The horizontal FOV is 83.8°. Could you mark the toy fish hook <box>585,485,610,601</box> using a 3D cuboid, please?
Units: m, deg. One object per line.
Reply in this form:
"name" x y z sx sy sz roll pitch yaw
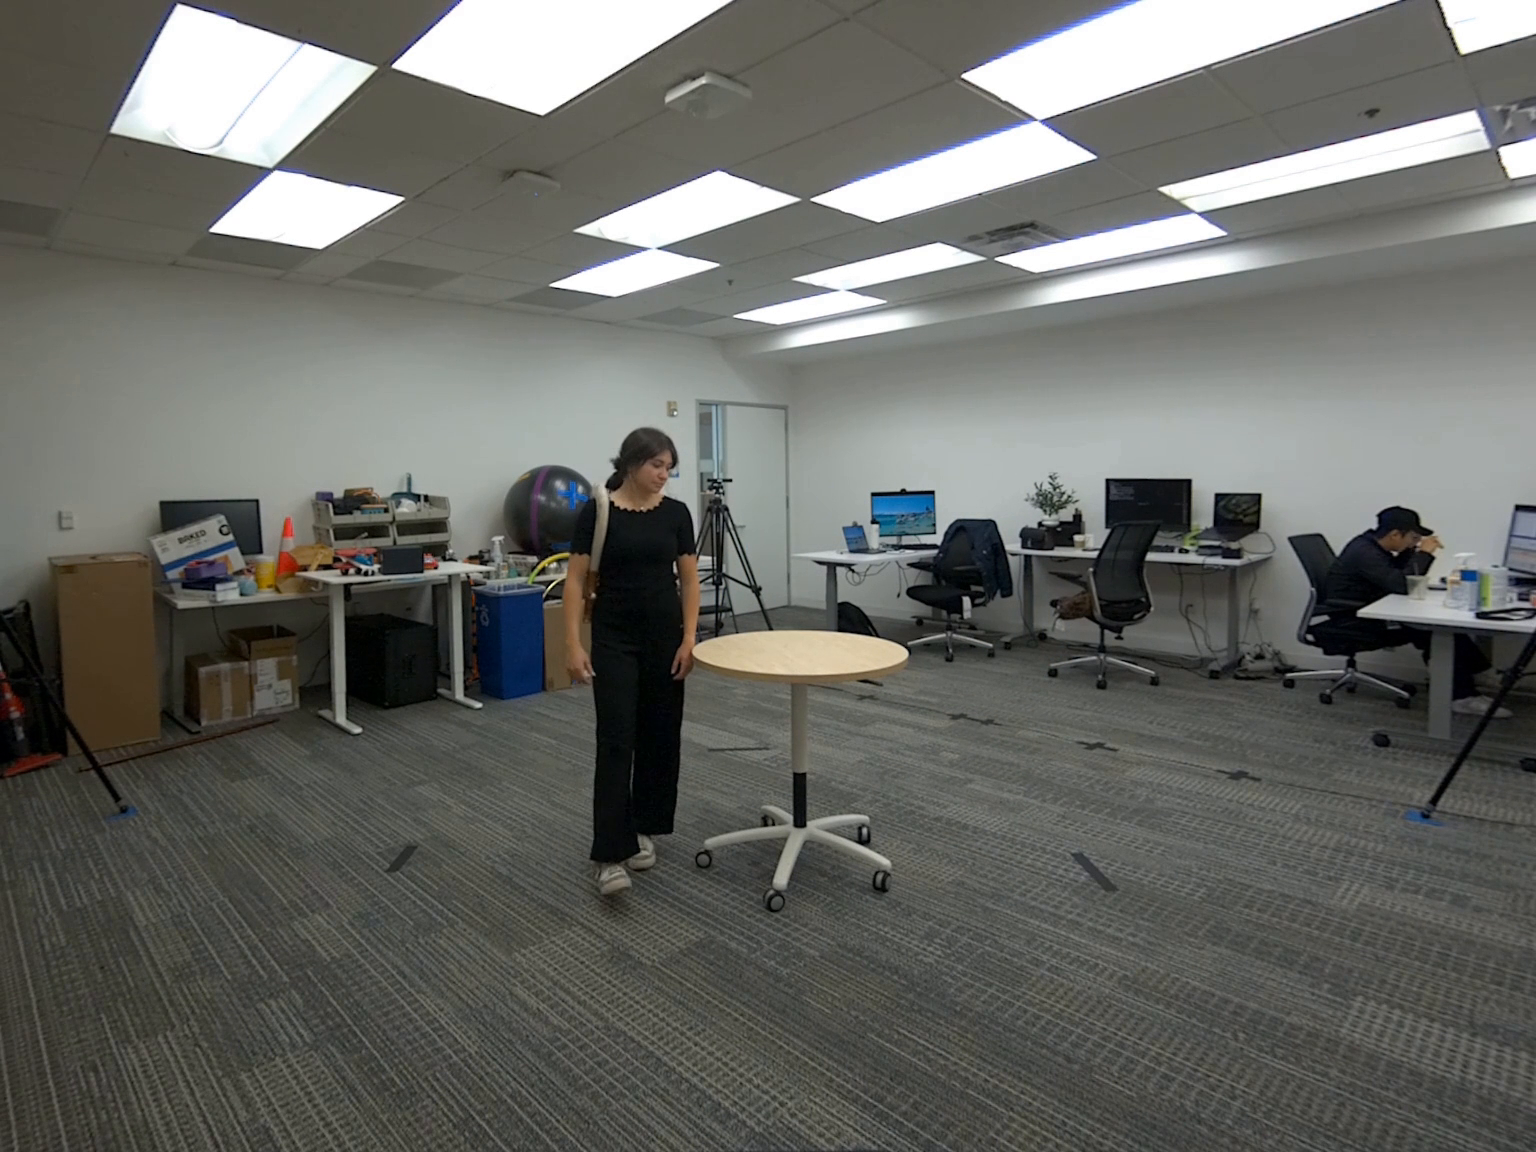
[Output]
"toy fish hook" -0.638 -0.082 3.090 0.047 0.504 0.230 6 6 -21
